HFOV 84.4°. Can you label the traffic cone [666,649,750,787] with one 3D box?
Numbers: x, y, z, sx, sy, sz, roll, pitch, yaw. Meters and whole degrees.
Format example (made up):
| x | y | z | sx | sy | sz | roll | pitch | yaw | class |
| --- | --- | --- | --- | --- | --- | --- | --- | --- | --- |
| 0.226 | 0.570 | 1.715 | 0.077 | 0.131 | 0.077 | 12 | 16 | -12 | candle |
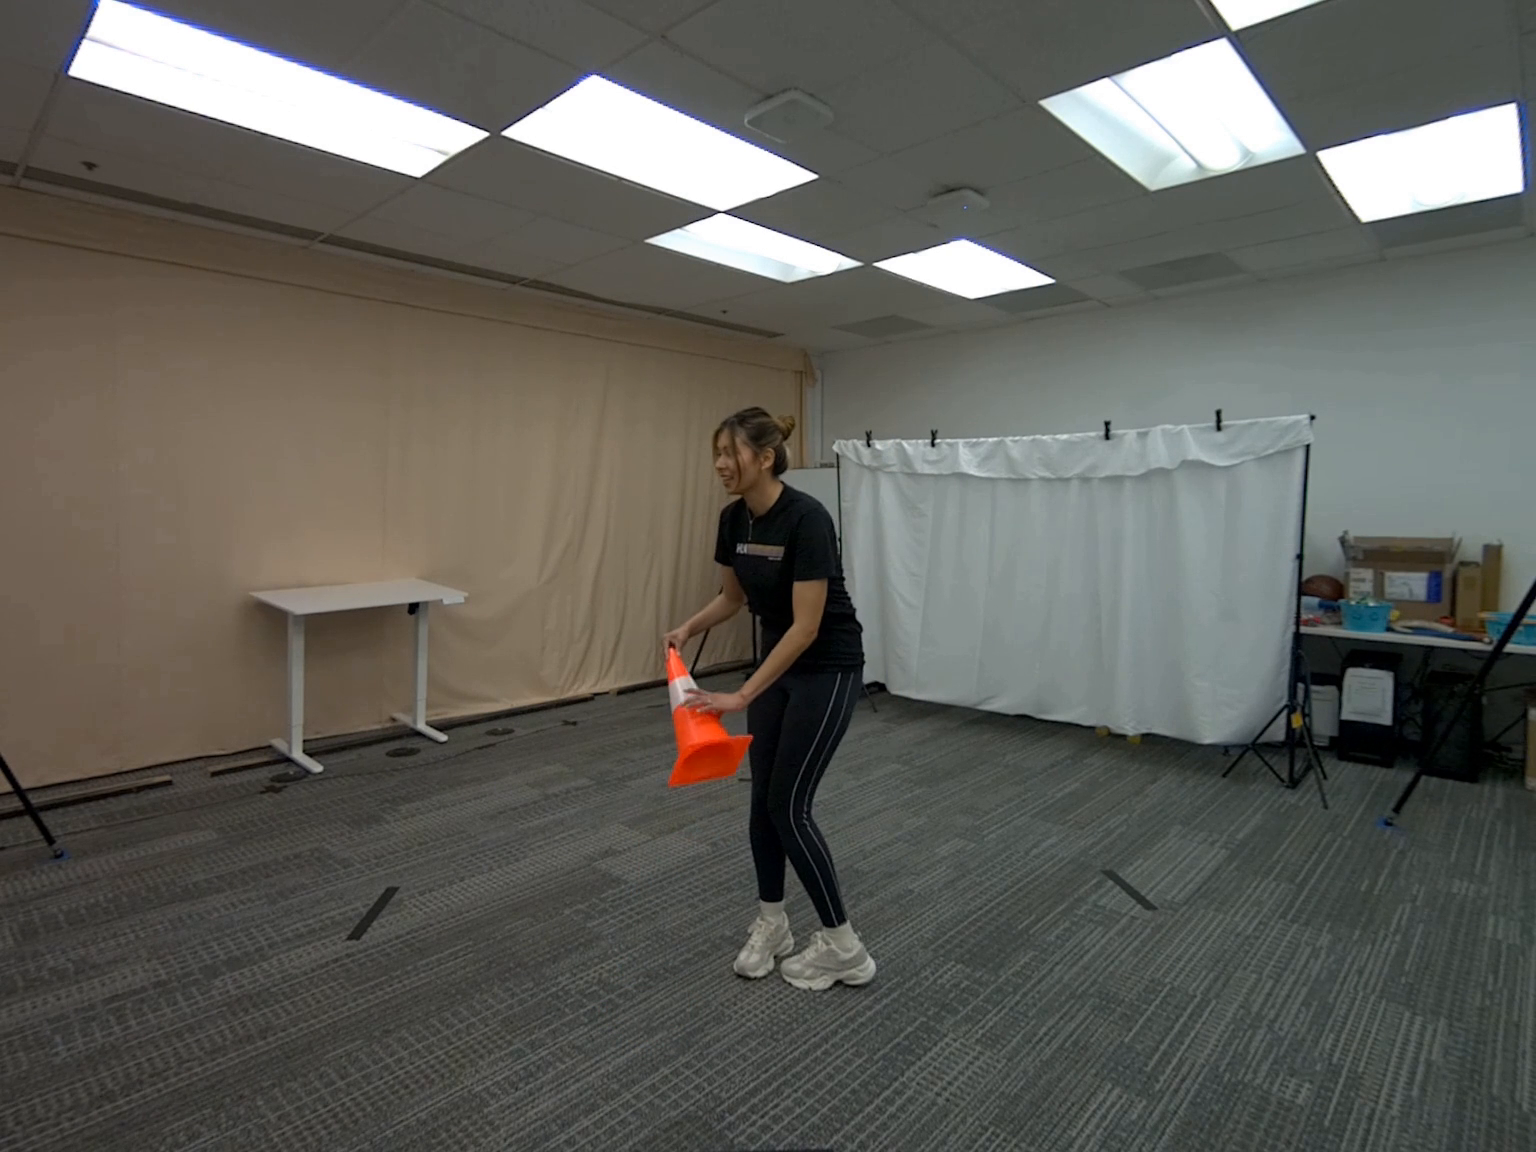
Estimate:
| x | y | z | sx | sy | sz | roll | pitch | yaw | class |
| --- | --- | --- | --- | --- | --- | --- | --- | --- | --- |
| -0.229 | 0.370 | 2.332 | 0.201 | 0.201 | 0.395 | -6 | 48 | -20 | traffic cone |
